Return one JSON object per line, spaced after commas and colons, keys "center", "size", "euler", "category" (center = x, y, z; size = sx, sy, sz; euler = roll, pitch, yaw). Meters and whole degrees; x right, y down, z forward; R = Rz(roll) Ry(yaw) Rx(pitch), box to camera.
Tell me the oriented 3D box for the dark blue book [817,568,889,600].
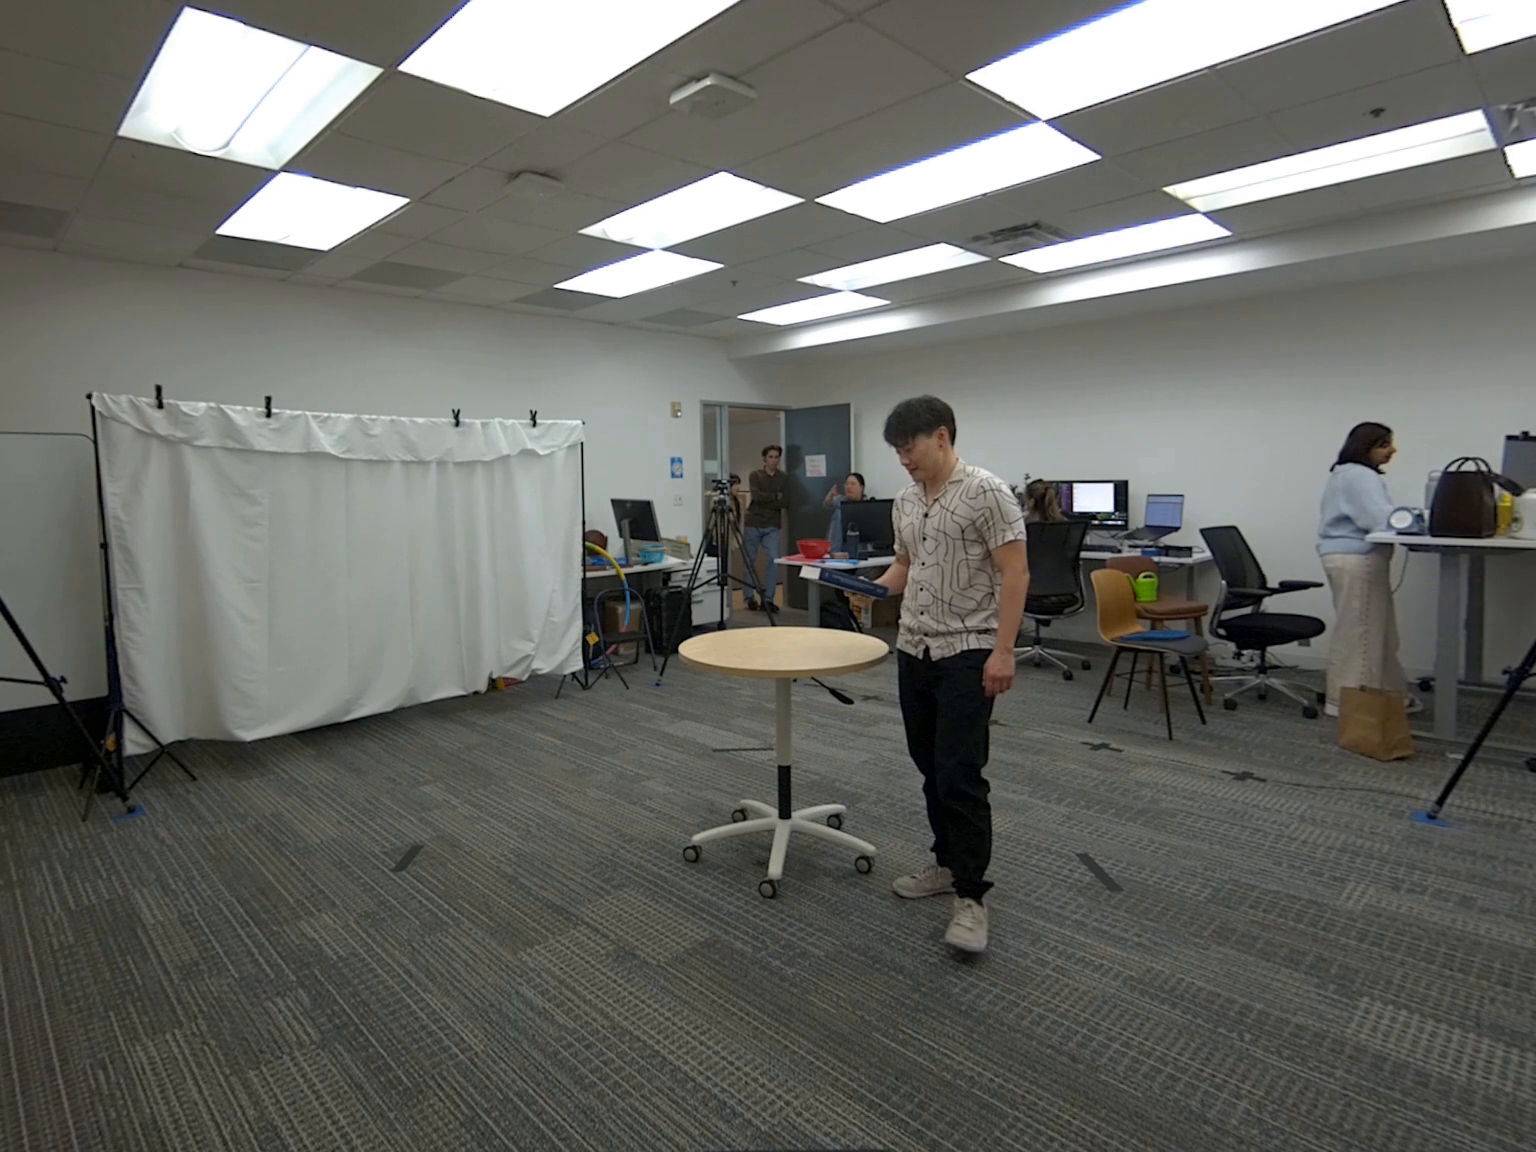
{"center": [0.257, 0.021, 2.741], "size": [0.240, 0.045, 0.166], "euler": [15, -1, -18], "category": "dark blue book"}
